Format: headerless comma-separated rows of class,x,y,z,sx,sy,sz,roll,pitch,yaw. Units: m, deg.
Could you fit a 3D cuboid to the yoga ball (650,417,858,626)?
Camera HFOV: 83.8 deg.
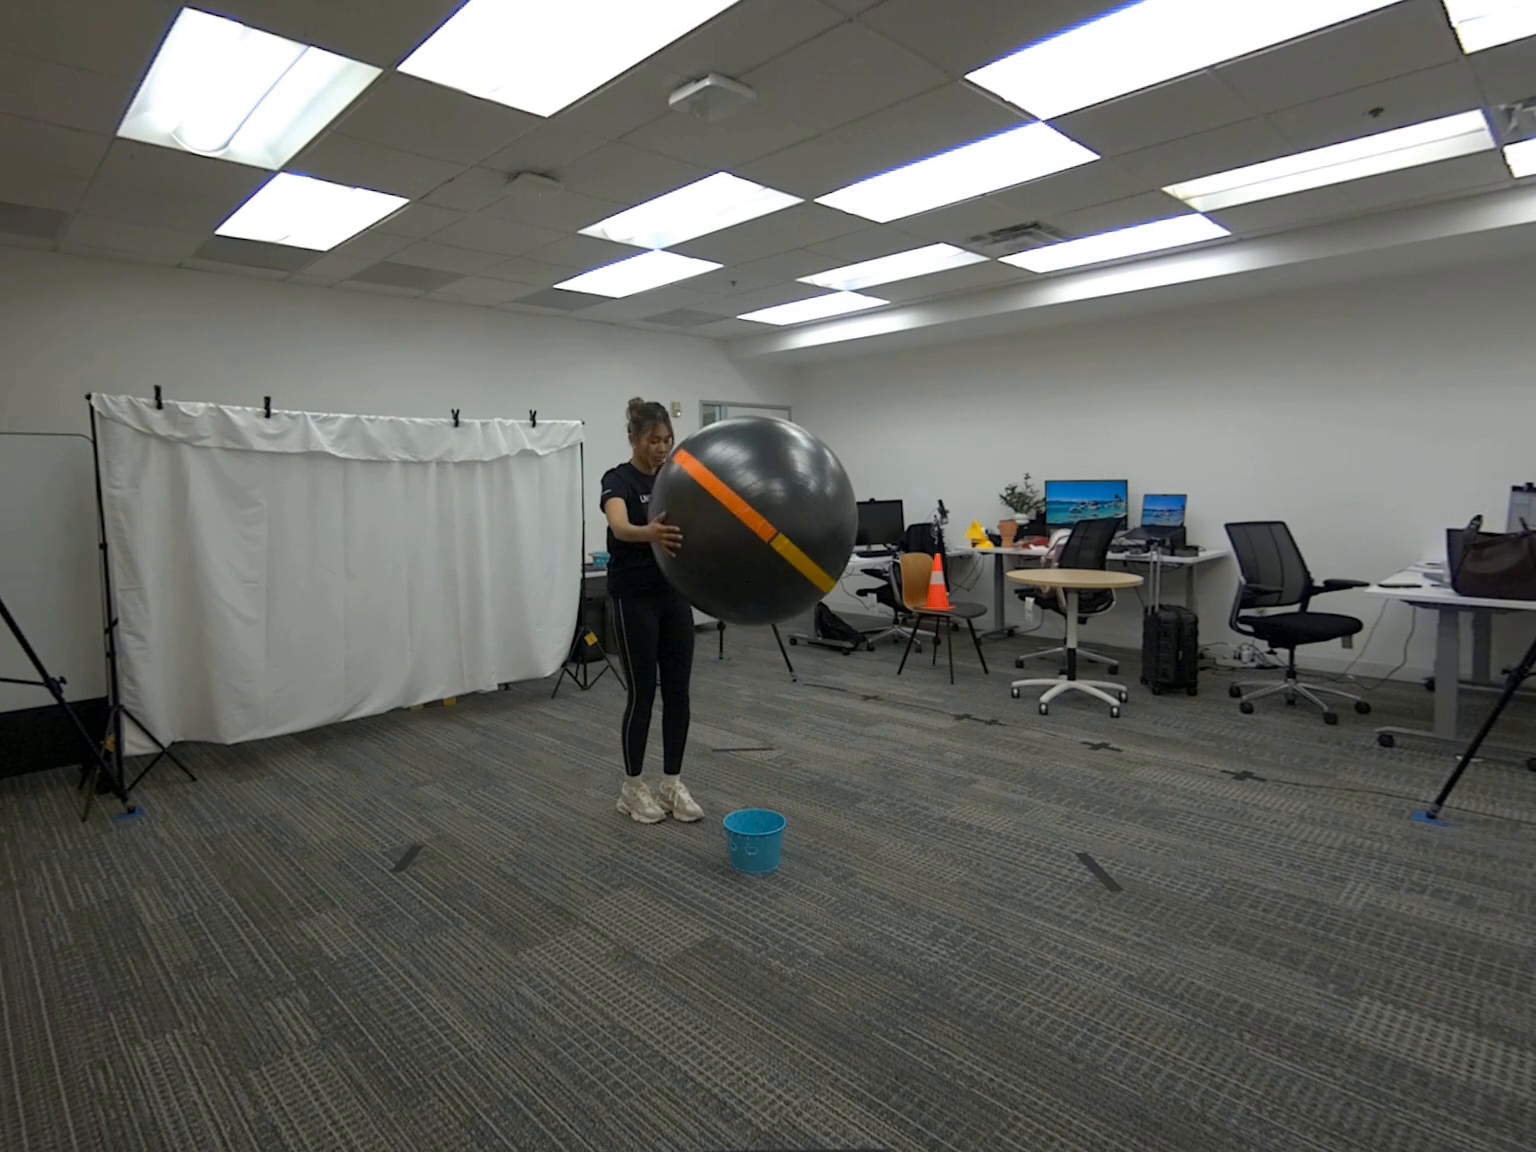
yoga ball,-0.057,-0.201,3.092,0.757,0.755,0.762,-1,5,-2
